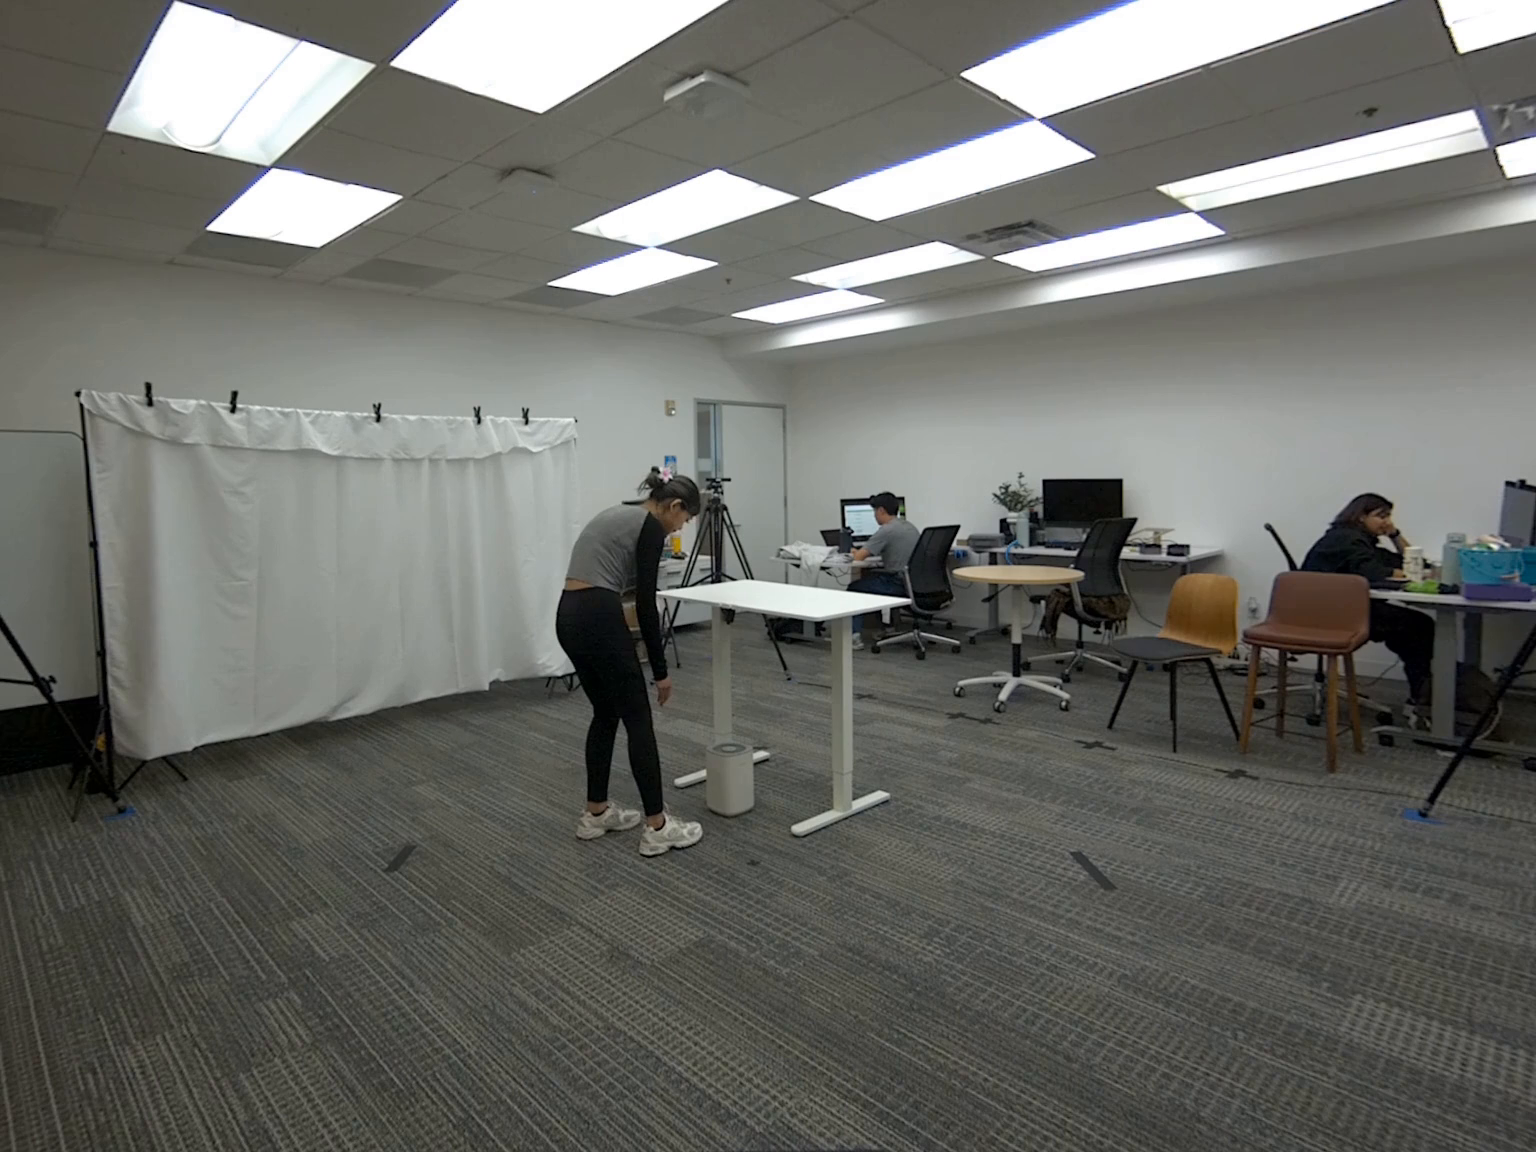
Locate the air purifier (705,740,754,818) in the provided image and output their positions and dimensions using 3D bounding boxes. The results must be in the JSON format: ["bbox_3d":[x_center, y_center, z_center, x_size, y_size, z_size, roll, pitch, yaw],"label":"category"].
[{"bbox_3d":[-0.168,0.854,3.601,0.166,0.264,0.177,-5,5,-44],"label":"air purifier"}]
